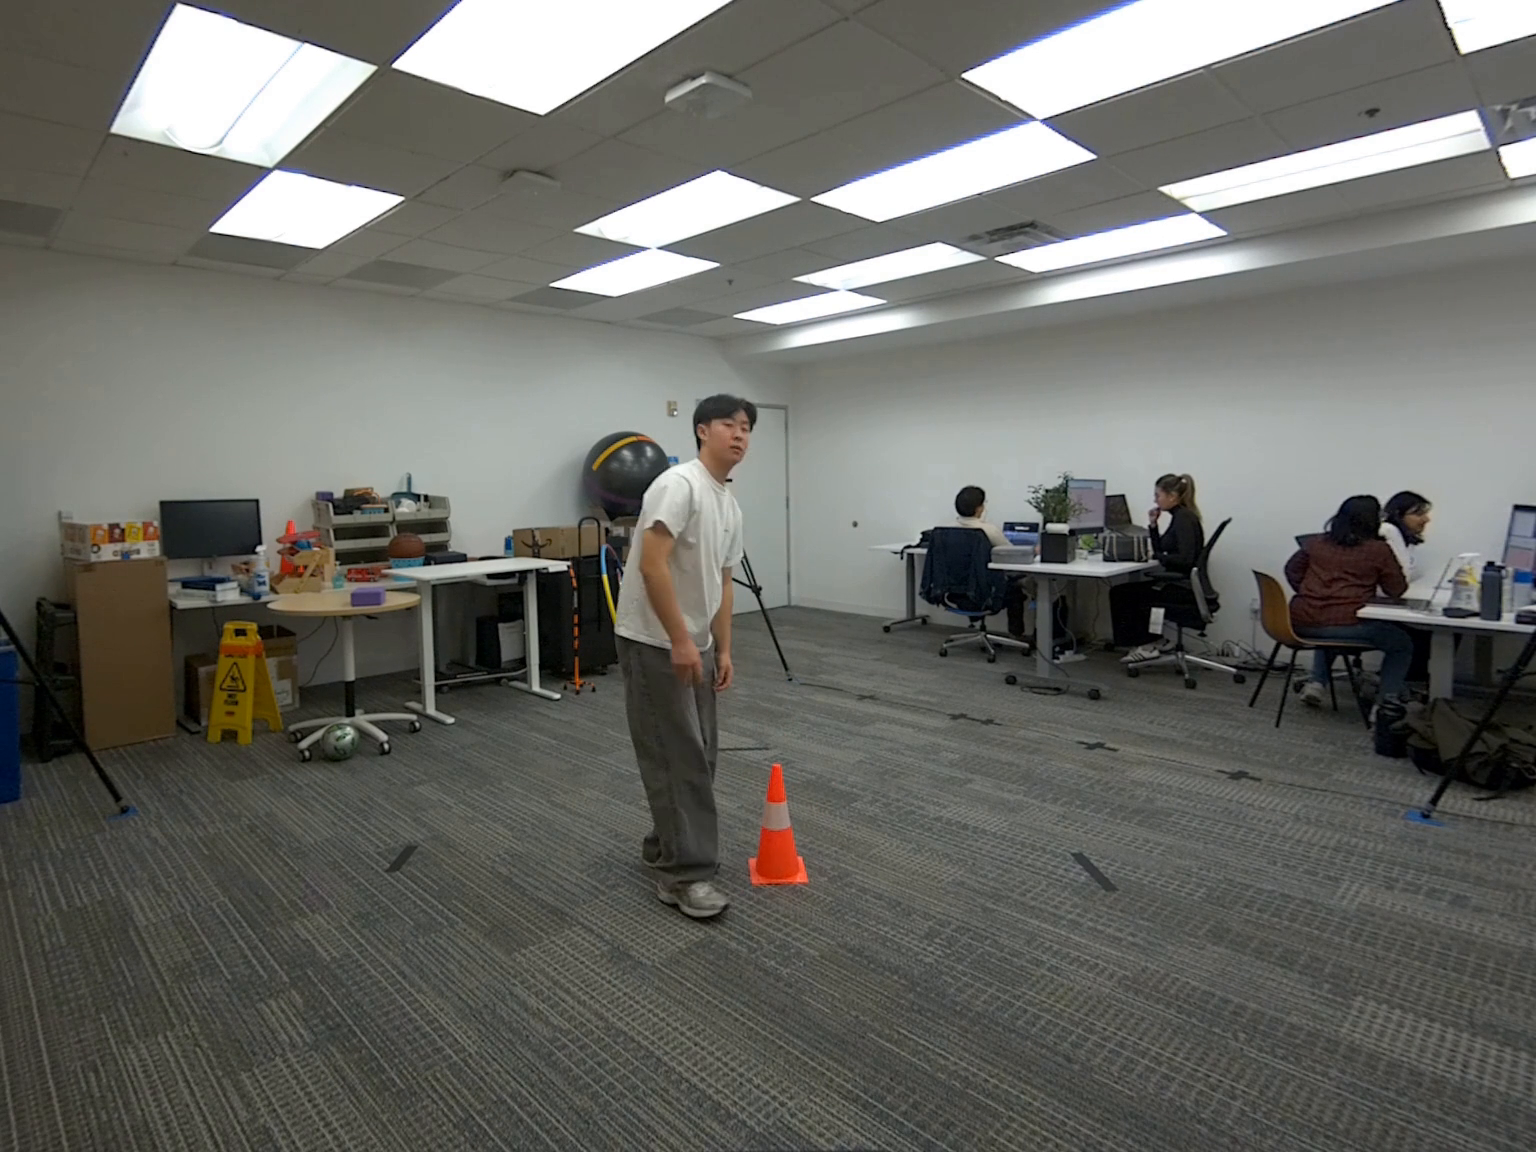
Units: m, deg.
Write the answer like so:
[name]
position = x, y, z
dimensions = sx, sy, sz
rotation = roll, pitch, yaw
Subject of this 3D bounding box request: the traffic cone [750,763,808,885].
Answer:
[traffic cone]
position = 0.030, 0.863, 3.026
dimensions = 0.204, 0.382, 0.205
rotation = -1, 5, -3
